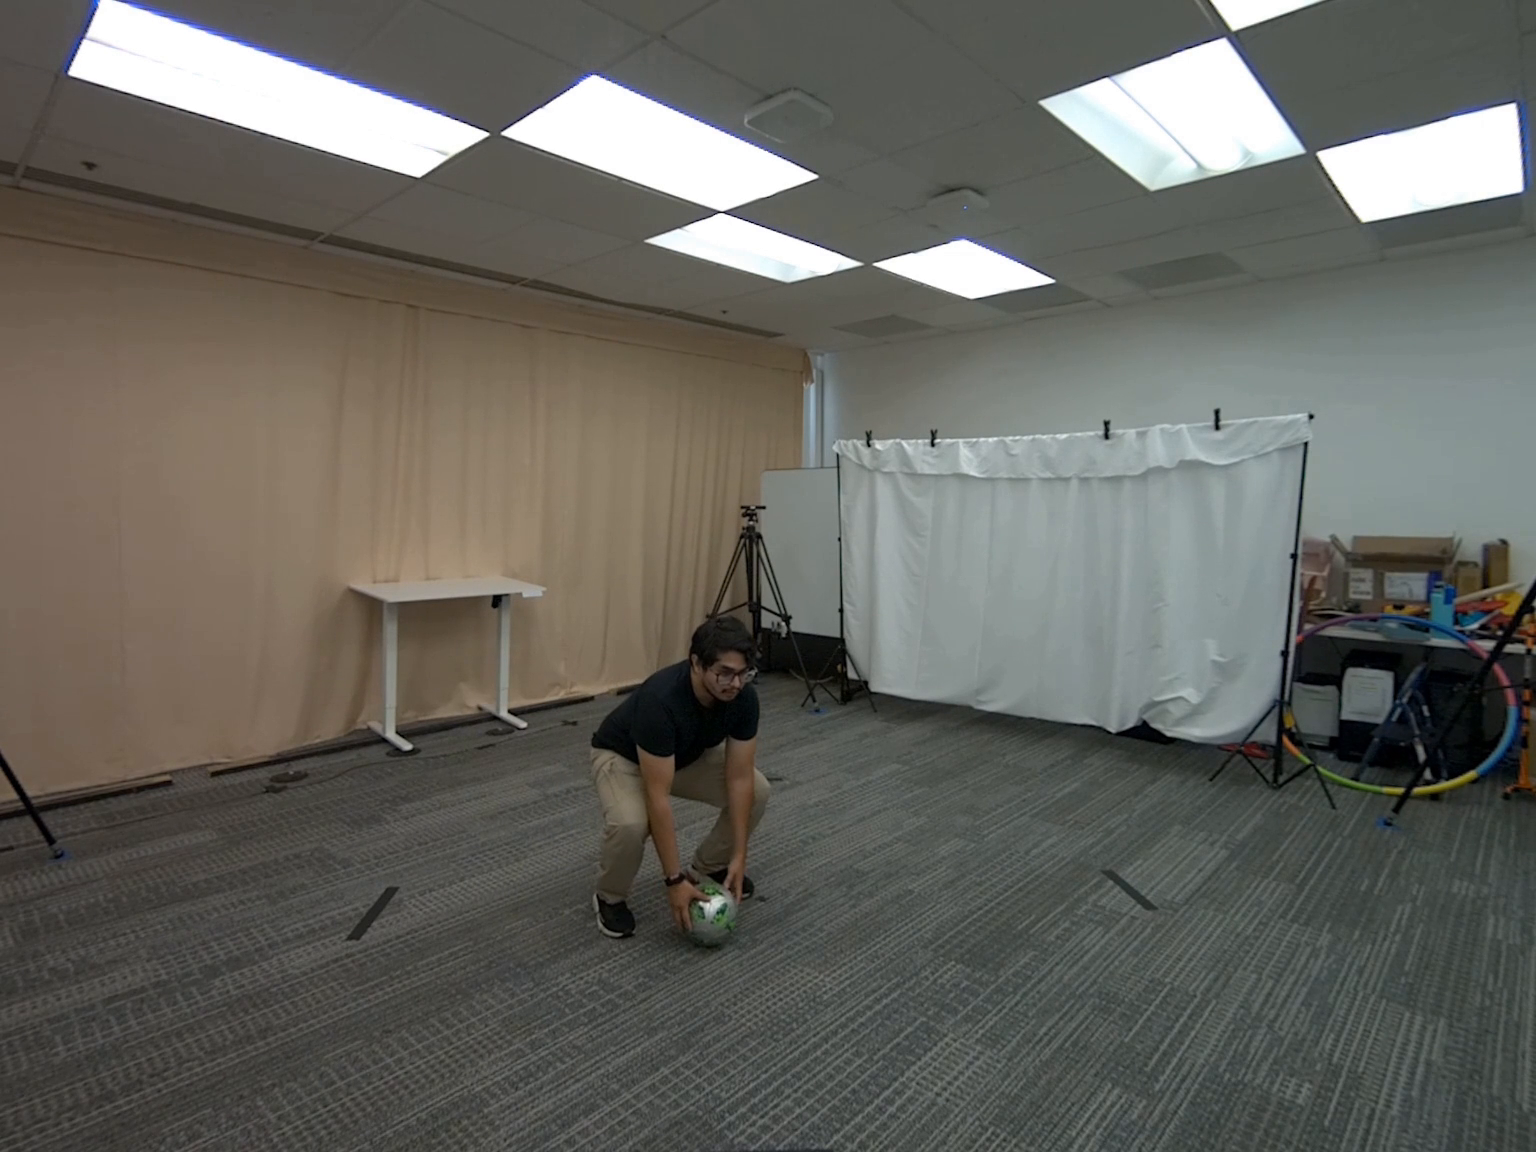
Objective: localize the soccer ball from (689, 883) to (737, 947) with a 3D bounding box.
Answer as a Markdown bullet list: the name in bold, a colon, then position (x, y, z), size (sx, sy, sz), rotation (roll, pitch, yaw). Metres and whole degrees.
- **soccer ball**: position (-0.189, 1.074, 2.674), size (0.187, 0.187, 0.188), rotation (0, 4, -2)
